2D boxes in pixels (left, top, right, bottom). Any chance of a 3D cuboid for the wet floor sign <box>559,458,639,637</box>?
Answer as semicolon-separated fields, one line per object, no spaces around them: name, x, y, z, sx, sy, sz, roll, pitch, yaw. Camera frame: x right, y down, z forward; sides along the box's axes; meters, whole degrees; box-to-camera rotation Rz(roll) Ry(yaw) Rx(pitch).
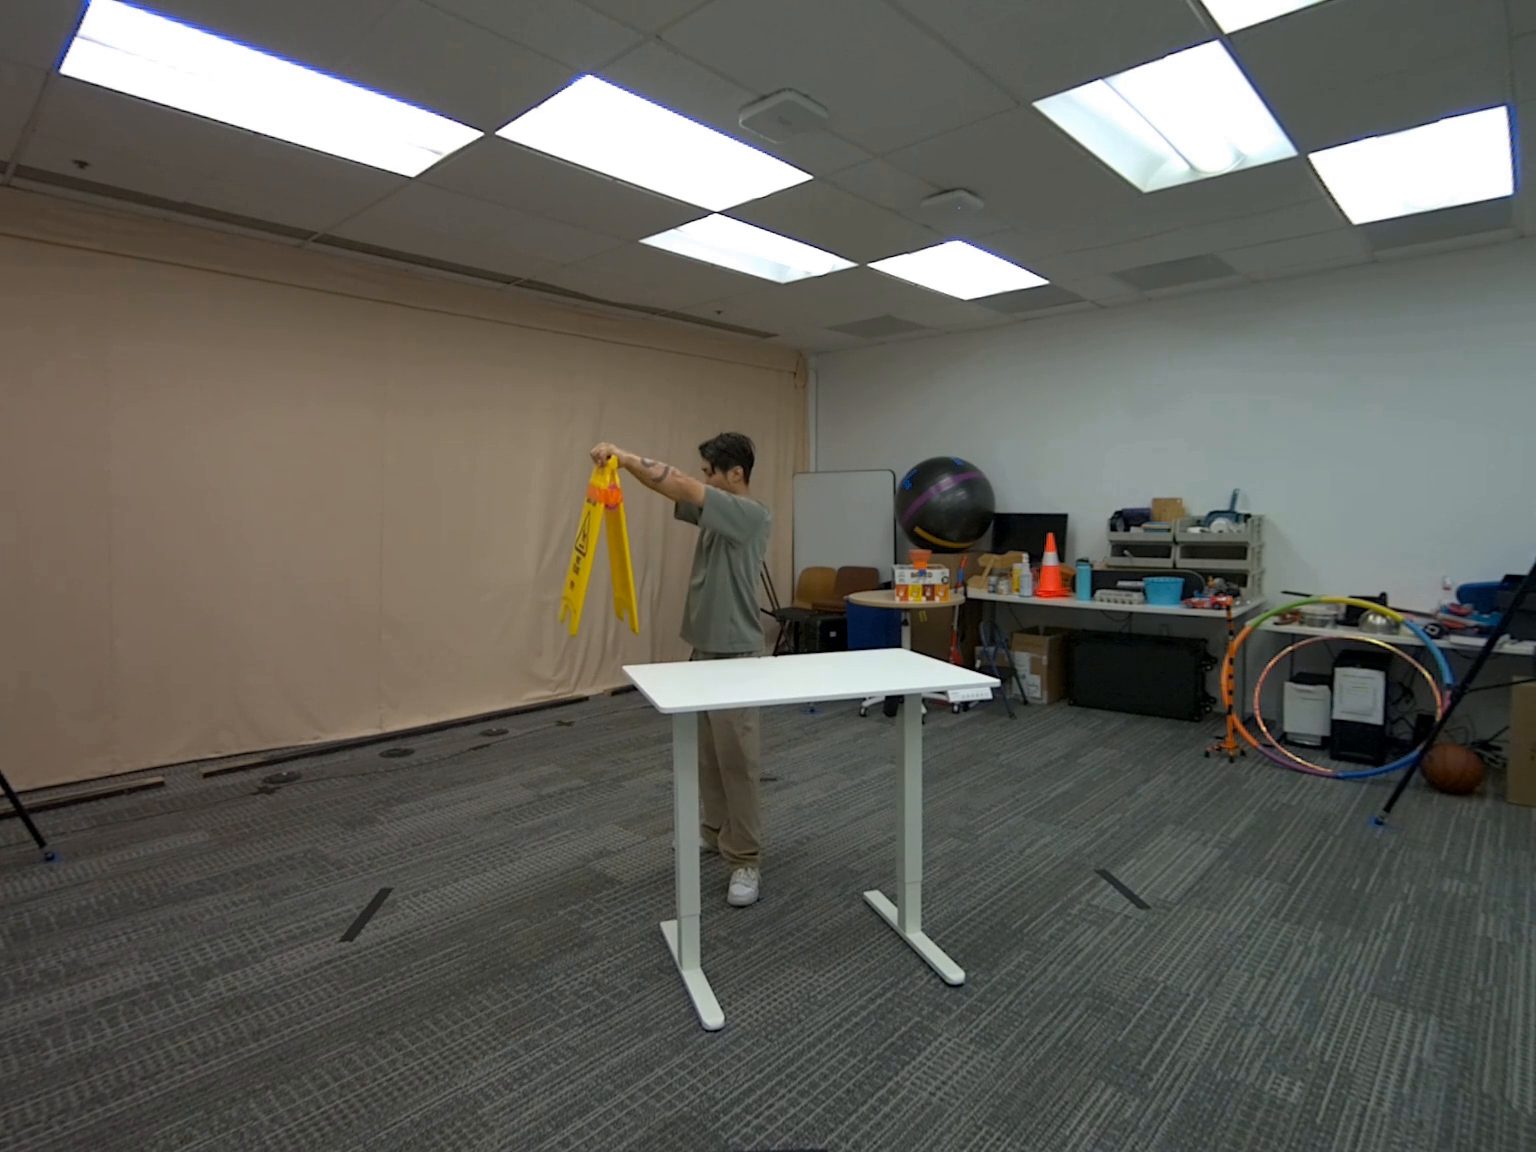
wet floor sign;-0.610;-0.119;3.102;0.283;0.643;0.290;0;9;-24
